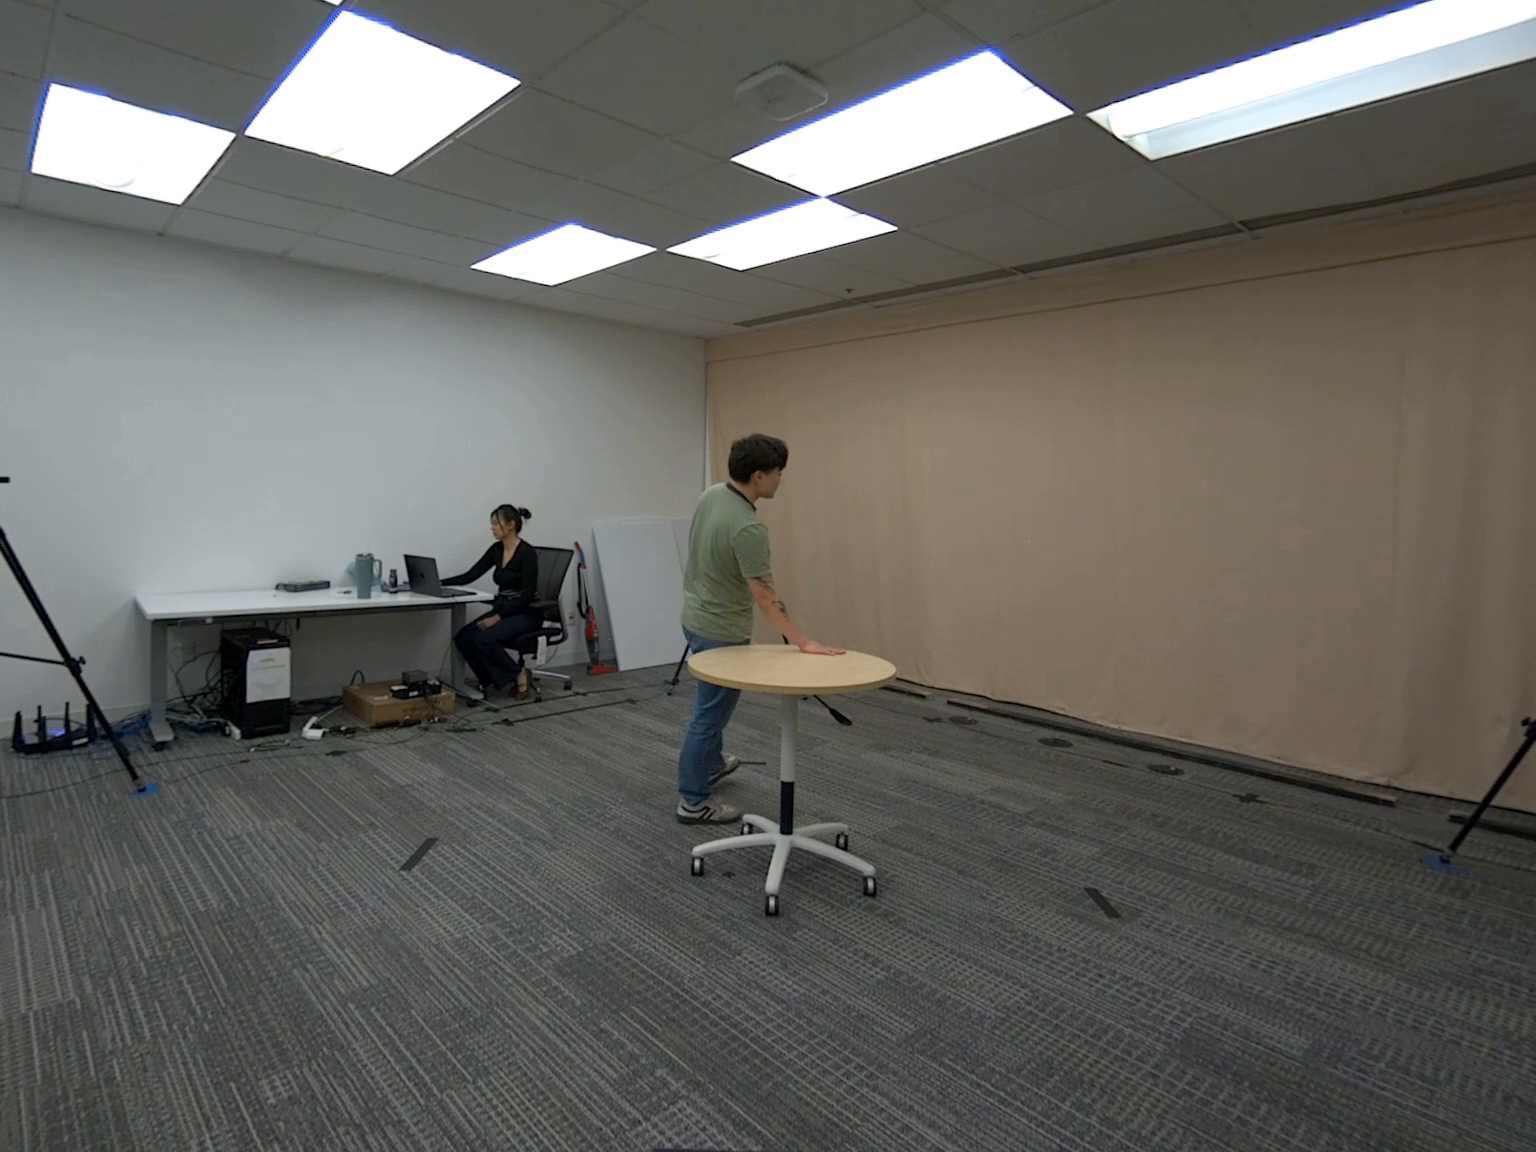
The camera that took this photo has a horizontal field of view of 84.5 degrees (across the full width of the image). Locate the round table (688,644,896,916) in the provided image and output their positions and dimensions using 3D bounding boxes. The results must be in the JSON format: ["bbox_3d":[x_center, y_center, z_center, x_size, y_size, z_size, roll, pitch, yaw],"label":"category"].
[{"bbox_3d":[0.072,0.717,3.136,0.763,0.792,0.767,2,4,-1],"label":"round table"}]
